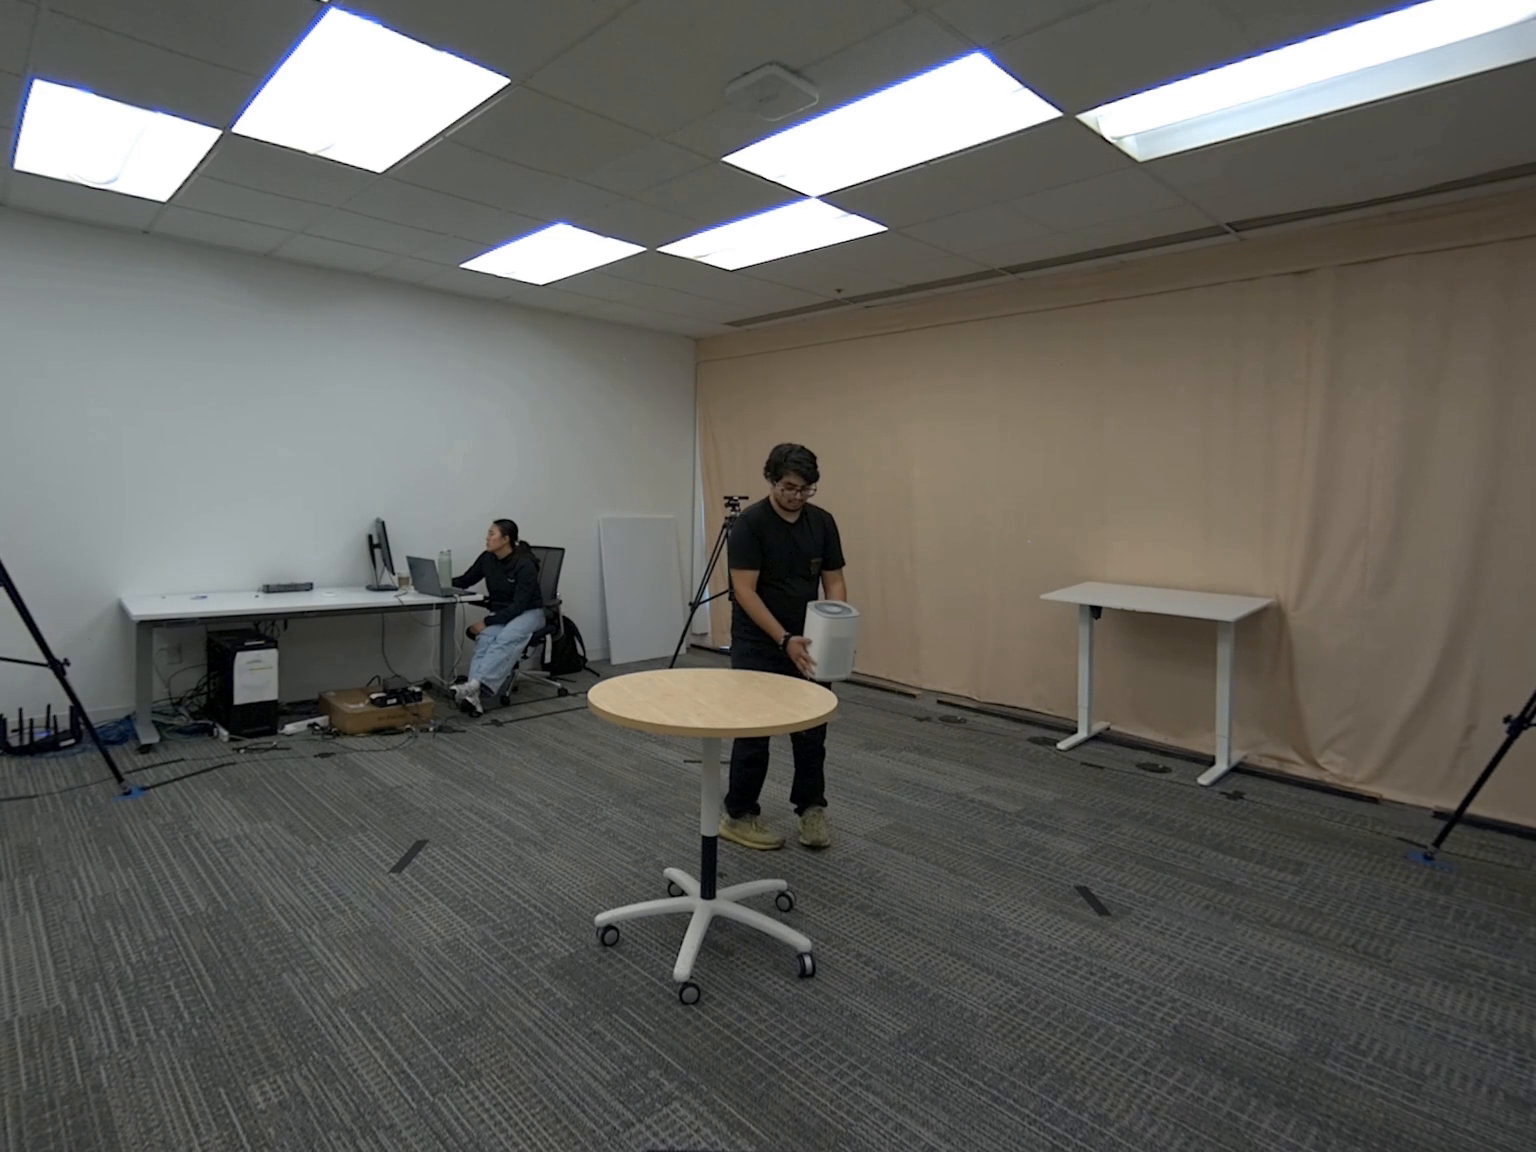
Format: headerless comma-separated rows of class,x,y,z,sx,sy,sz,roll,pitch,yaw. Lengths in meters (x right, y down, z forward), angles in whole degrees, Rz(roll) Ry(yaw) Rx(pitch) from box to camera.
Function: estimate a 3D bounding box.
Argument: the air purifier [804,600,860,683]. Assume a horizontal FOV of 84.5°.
air purifier,0.210,0.243,3.144,0.169,0.263,0.176,-1,17,-24
